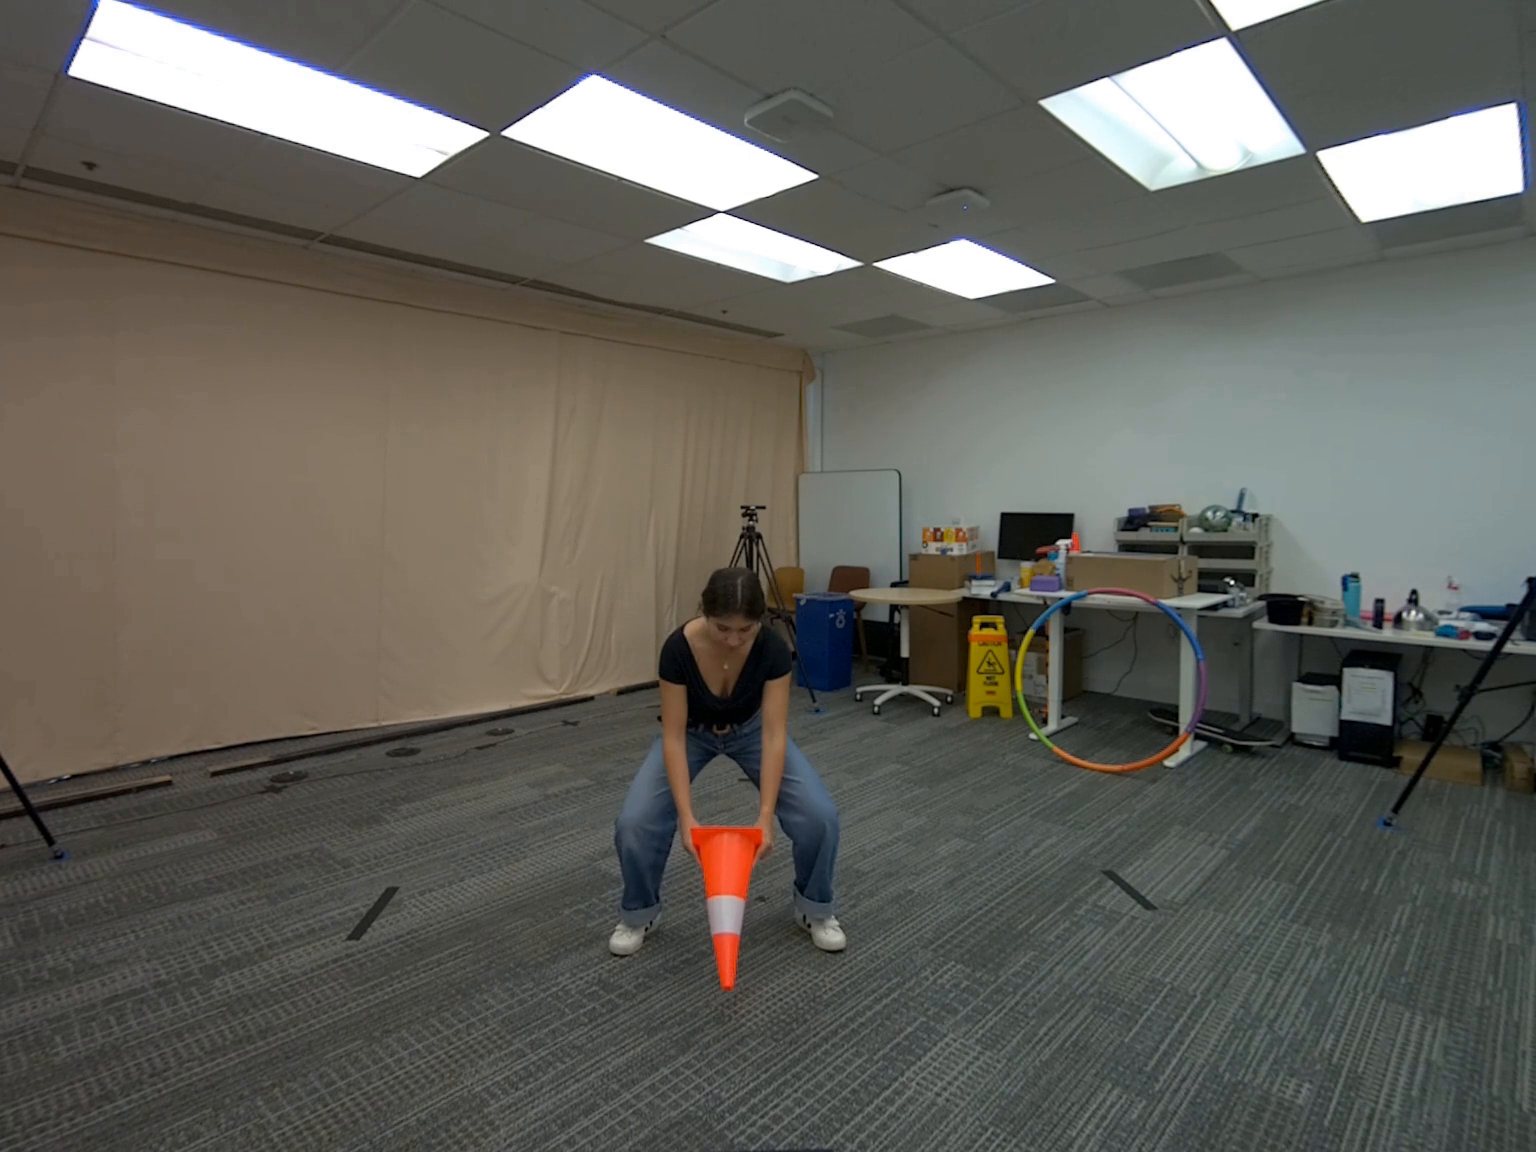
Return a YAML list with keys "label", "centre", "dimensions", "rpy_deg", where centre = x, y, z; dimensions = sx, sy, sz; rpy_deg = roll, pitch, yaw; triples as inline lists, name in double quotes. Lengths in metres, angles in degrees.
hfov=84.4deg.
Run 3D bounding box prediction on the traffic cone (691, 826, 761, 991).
- label: "traffic cone"
  centre: [-0.103, 0.886, 2.233]
  dimensions: [0.203, 0.201, 0.391]
  rpy_deg: [0, 47, -4]
